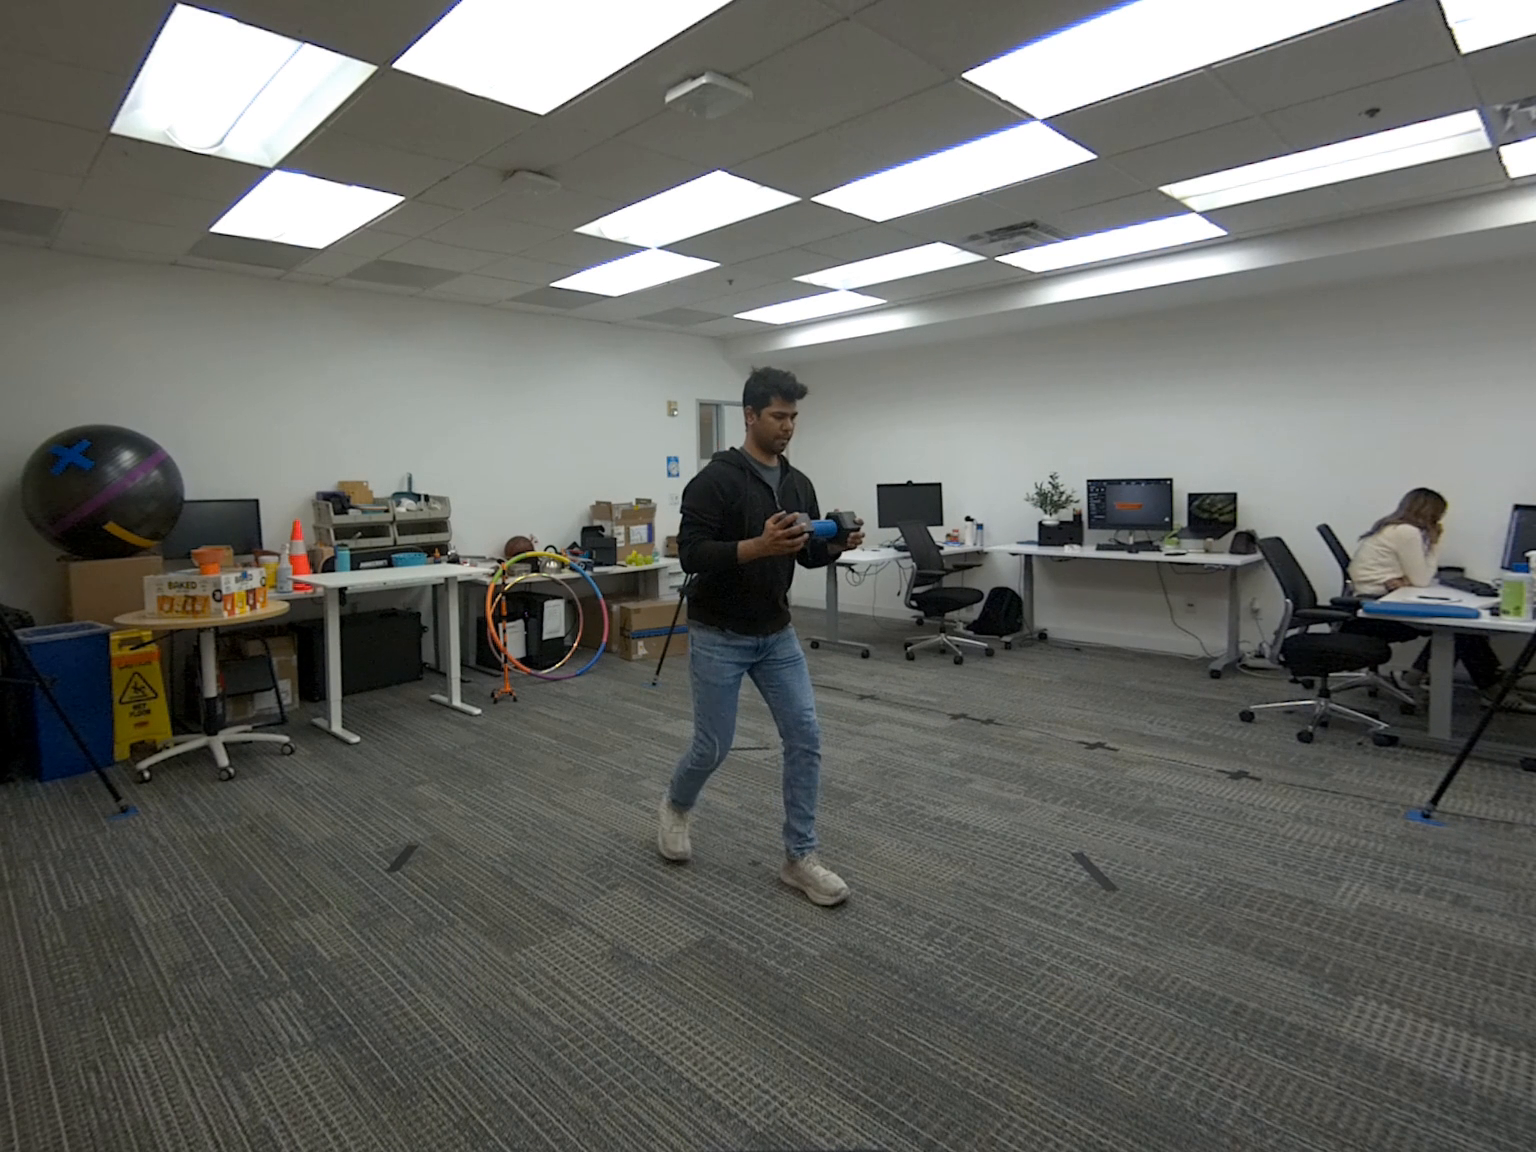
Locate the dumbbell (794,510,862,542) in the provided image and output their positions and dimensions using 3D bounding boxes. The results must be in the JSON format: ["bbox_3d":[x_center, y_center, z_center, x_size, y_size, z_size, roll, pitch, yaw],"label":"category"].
[{"bbox_3d":[0.142,-0.135,2.751,0.286,0.121,0.113,-7,39,-39],"label":"dumbbell"}]
